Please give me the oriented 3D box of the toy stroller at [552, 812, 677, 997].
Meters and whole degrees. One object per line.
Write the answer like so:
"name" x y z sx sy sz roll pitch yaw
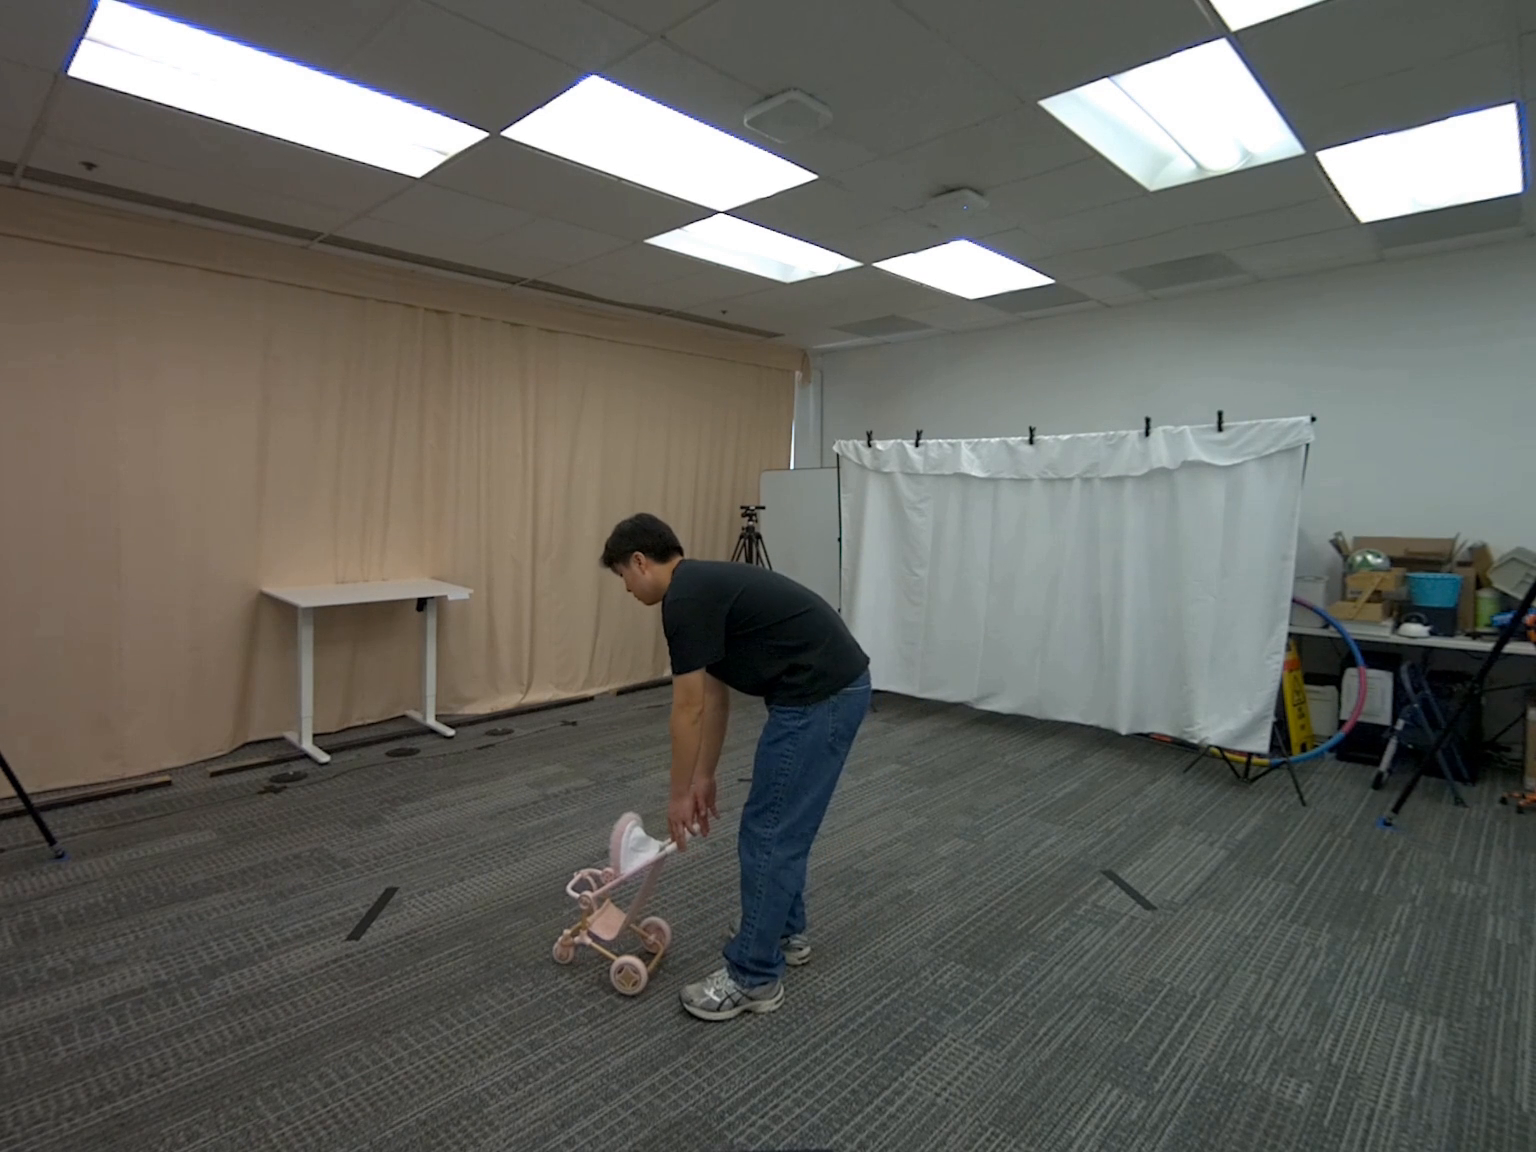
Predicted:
"toy stroller" -0.442 0.965 2.526 0.348 0.534 0.276 16 5 17
